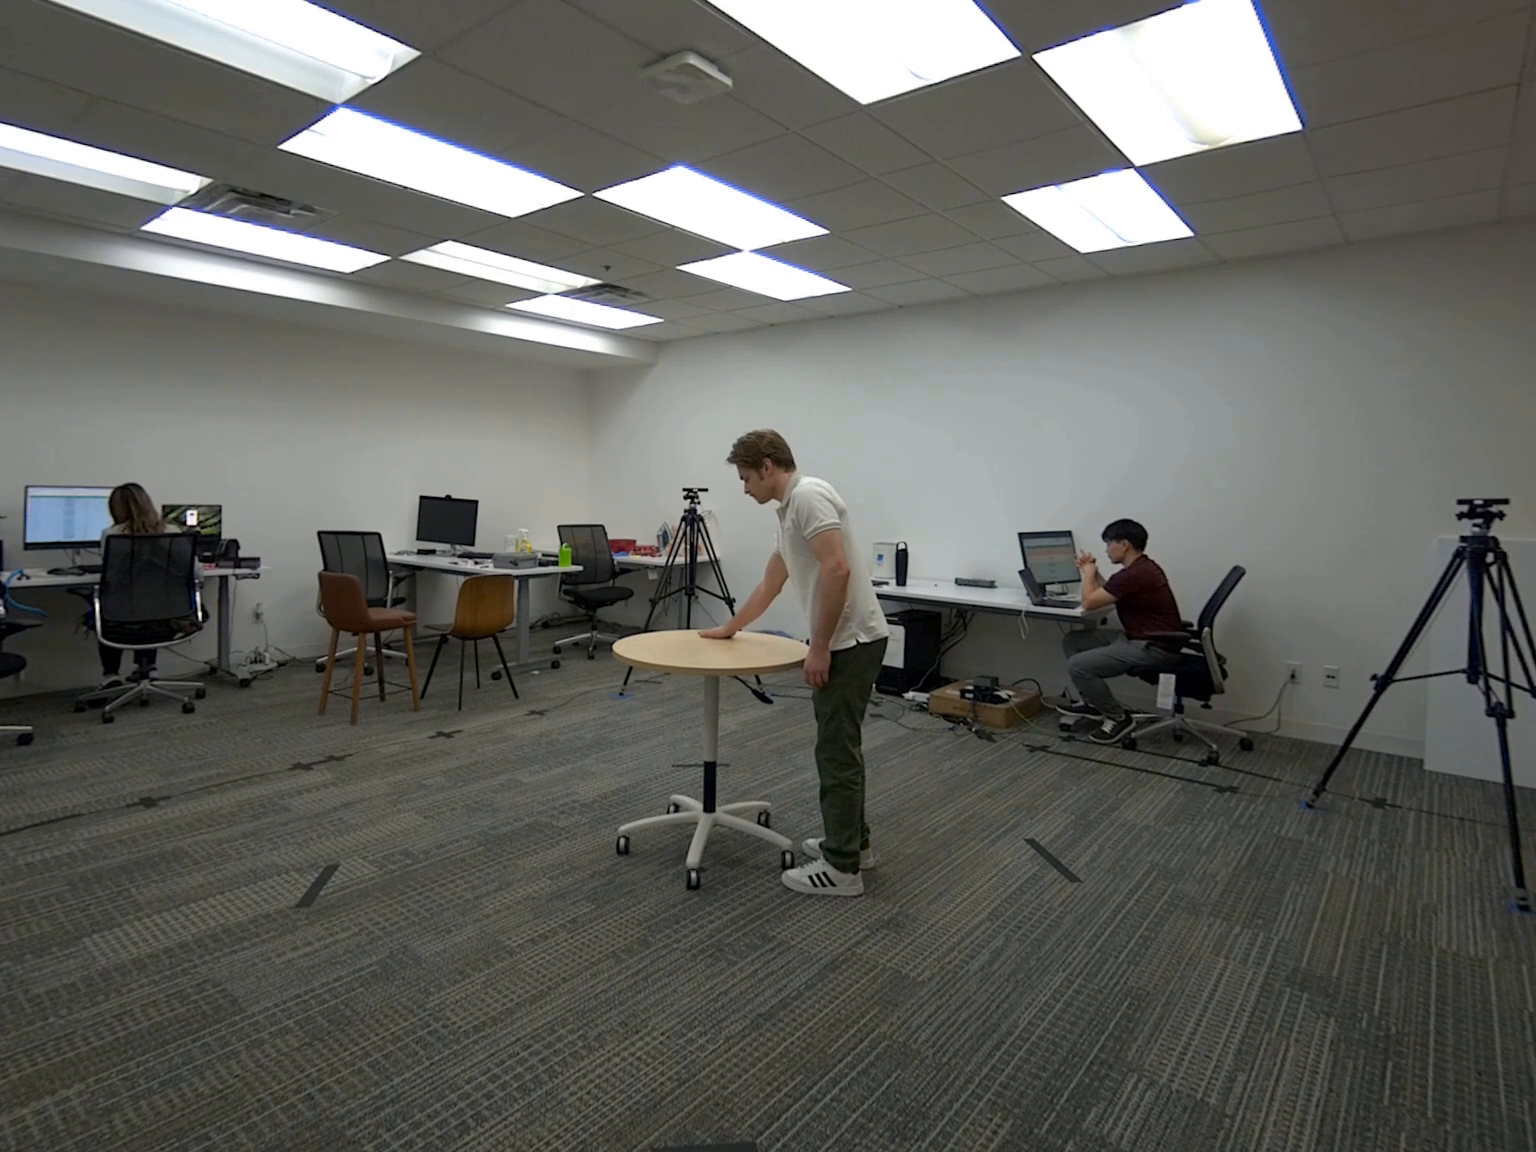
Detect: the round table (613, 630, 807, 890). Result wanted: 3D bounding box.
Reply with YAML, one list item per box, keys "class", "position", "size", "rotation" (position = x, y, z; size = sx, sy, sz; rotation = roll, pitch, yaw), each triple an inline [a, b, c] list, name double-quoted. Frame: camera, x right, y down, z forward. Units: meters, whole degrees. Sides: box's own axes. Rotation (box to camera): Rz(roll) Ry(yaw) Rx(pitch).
- class: "round table"
  position: [-0.240, 0.656, 3.304]
  size: [0.784, 0.784, 0.789]
  rotation: [1, 5, -2]
